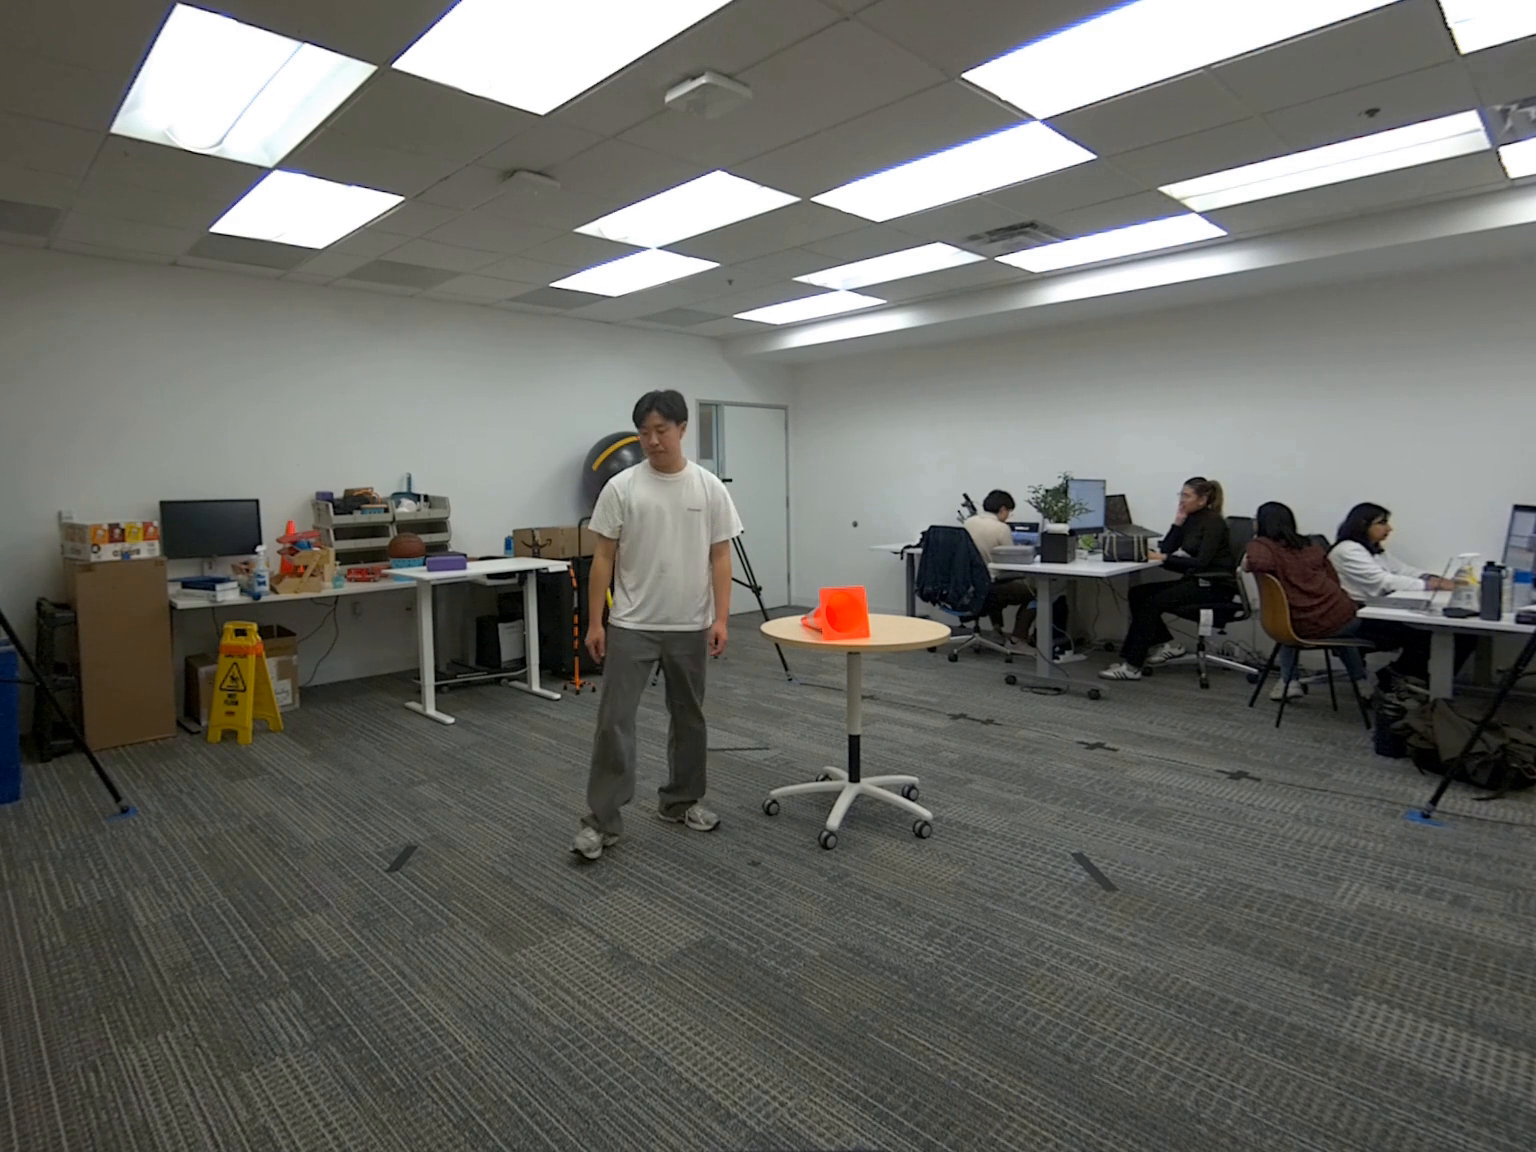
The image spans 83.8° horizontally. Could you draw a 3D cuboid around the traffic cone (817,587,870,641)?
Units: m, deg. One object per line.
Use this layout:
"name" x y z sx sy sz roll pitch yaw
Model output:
"traffic cone" 0.217 0.163 3.419 0.199 0.207 0.388 -1 -7 -22
